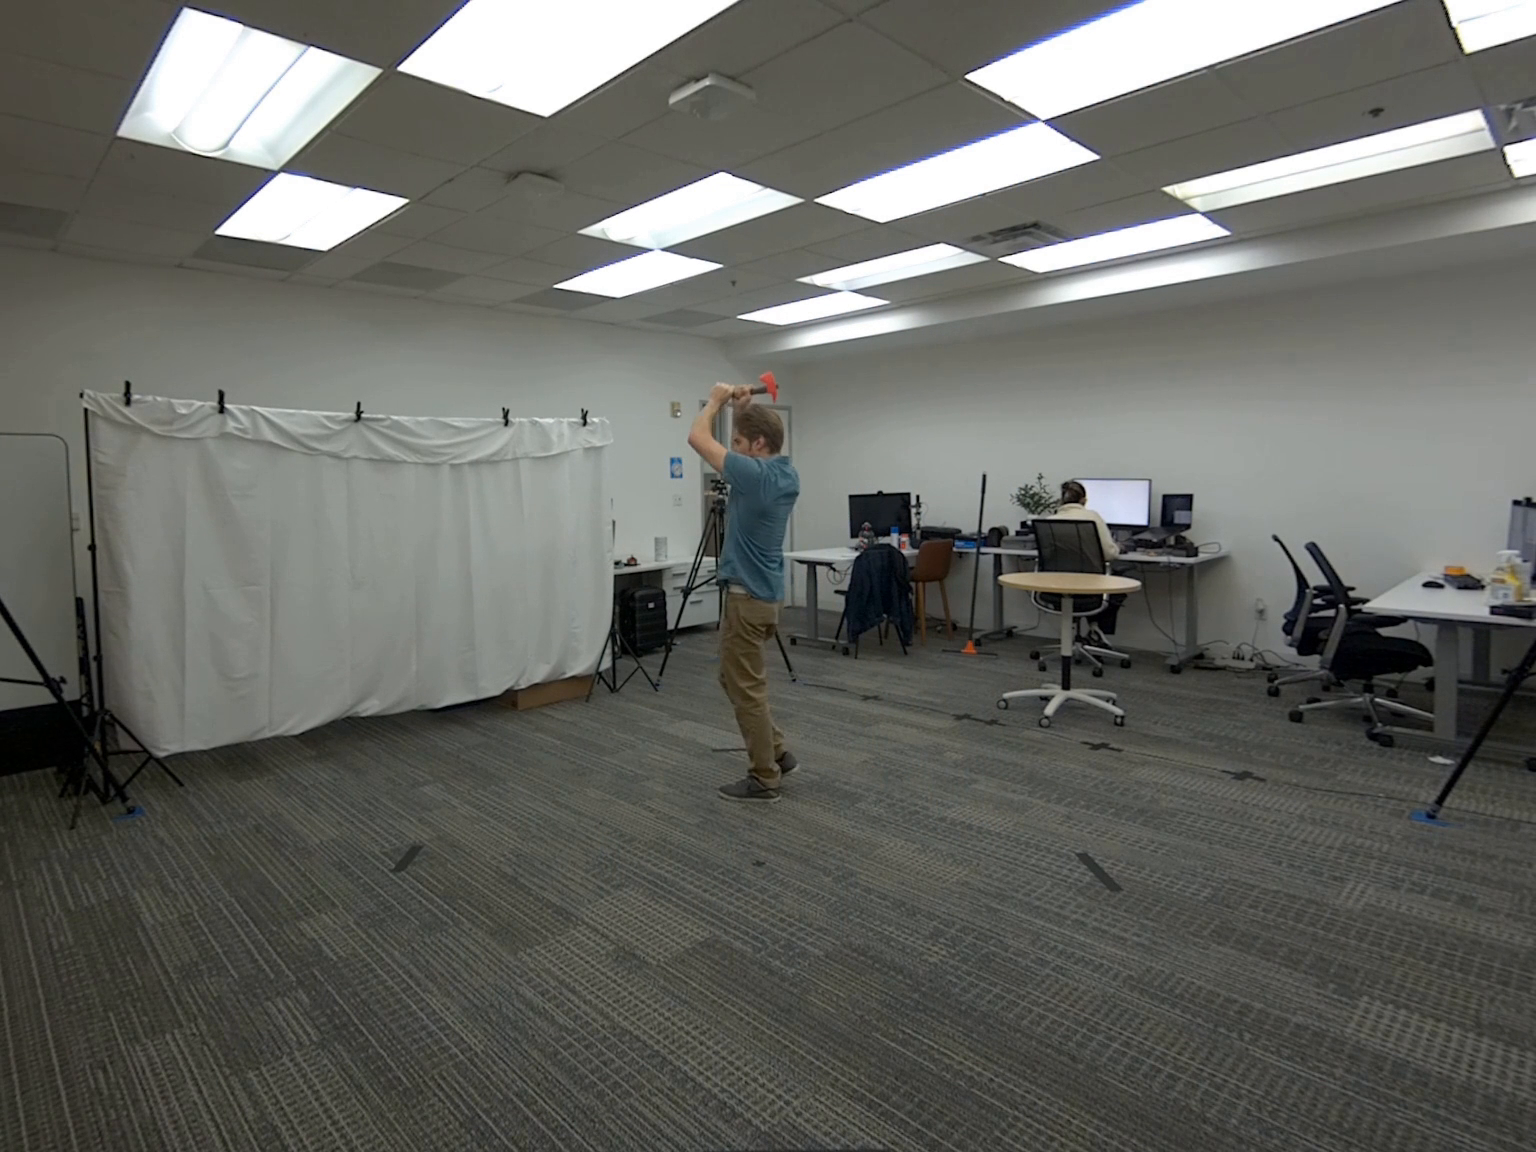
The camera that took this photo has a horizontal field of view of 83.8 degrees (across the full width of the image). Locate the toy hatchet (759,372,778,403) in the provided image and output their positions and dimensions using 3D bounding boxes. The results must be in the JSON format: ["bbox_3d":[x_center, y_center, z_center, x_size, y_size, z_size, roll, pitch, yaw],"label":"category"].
[{"bbox_3d":[-0.086,-0.840,3.760,0.269,0.130,0.030,9,12,-2],"label":"toy hatchet"}]
